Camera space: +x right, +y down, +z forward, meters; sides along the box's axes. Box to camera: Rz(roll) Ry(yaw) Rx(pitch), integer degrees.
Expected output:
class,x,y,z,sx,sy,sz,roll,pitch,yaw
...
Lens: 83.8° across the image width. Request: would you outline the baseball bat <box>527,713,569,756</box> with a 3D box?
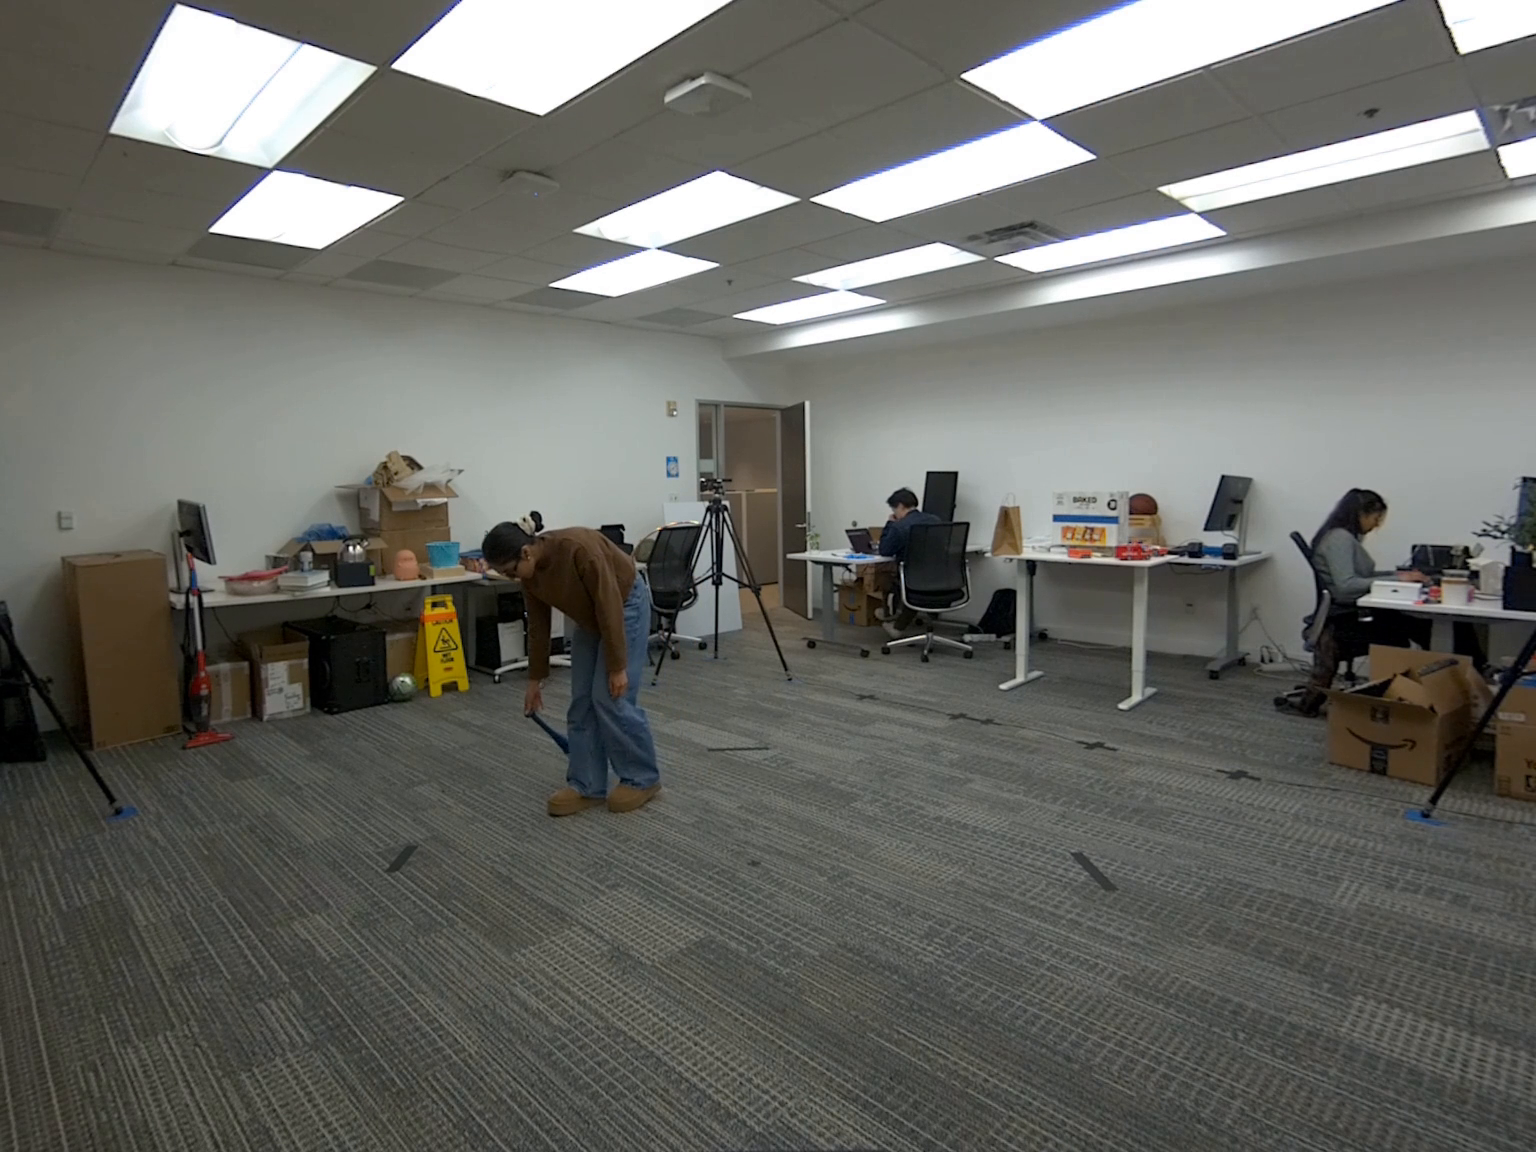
class,x,y,z,sx,sy,sz,roll,pitch,yaw
baseball bat,-0.910,0.771,3.871,0.092,0.089,0.525,4,-37,51
